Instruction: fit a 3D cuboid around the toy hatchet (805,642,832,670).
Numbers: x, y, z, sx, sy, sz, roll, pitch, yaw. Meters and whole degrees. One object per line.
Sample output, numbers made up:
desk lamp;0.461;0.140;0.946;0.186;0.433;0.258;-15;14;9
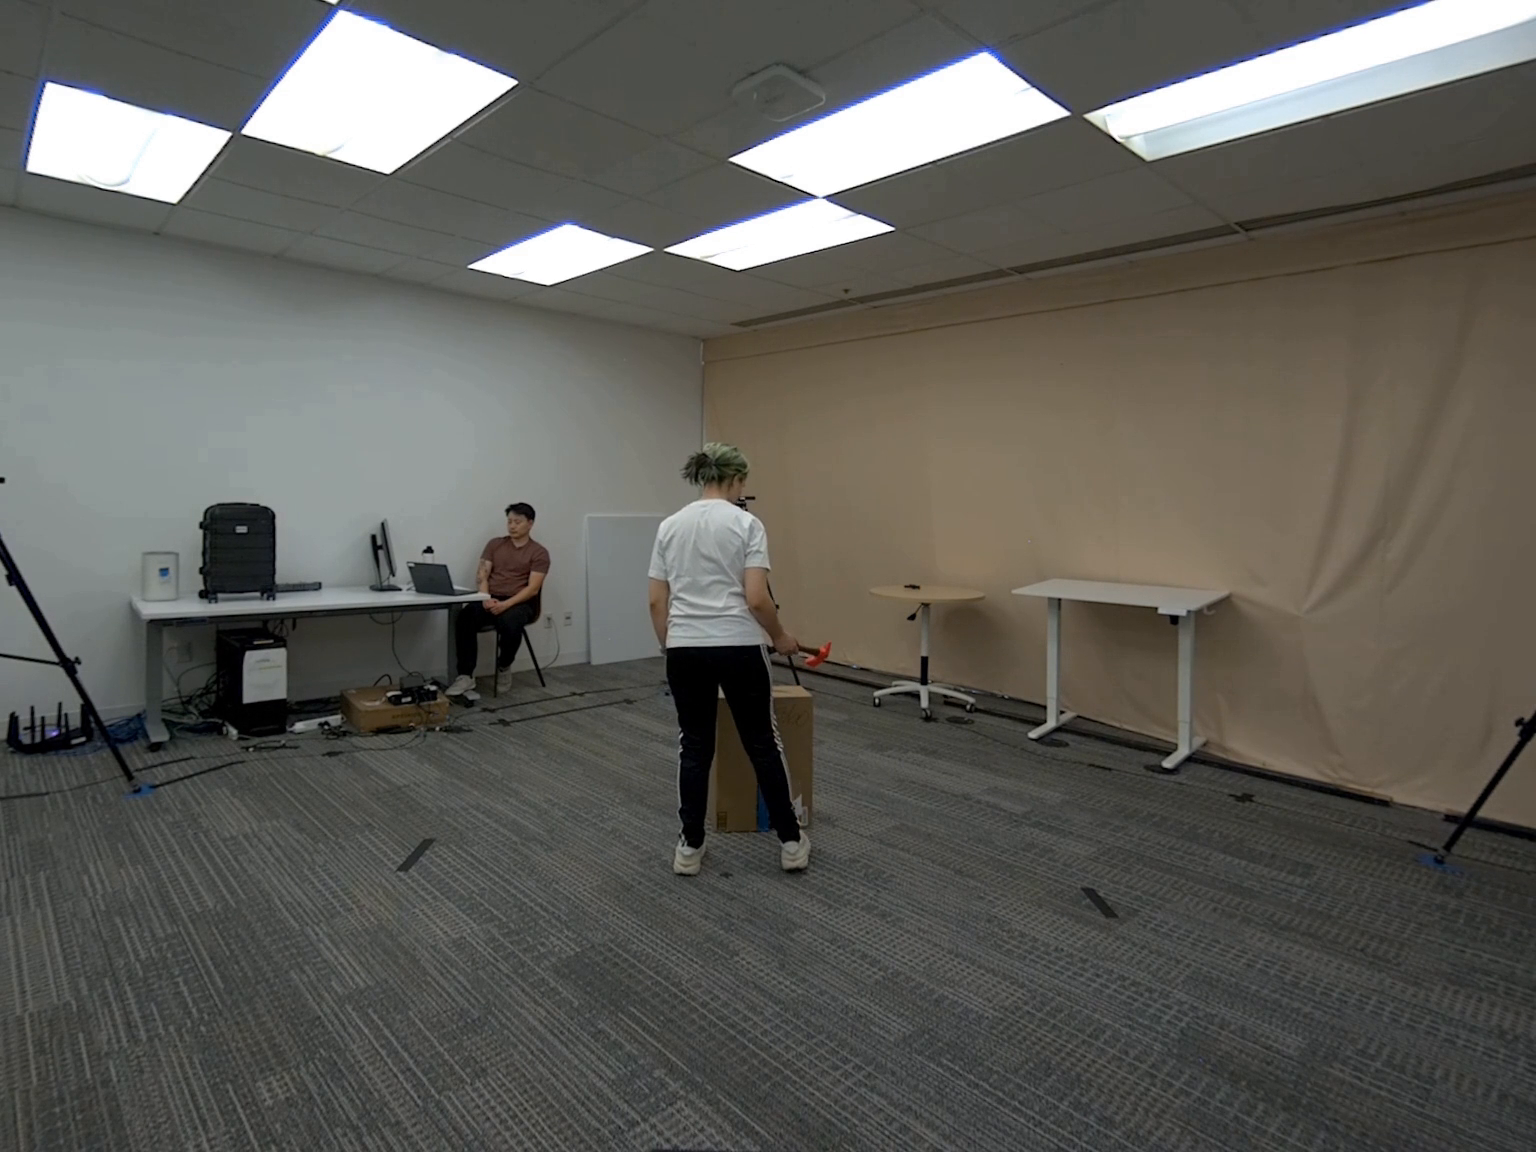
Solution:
toy hatchet;0.104;0.312;3.294;0.266;0.129;0.030;-3;41;-23
